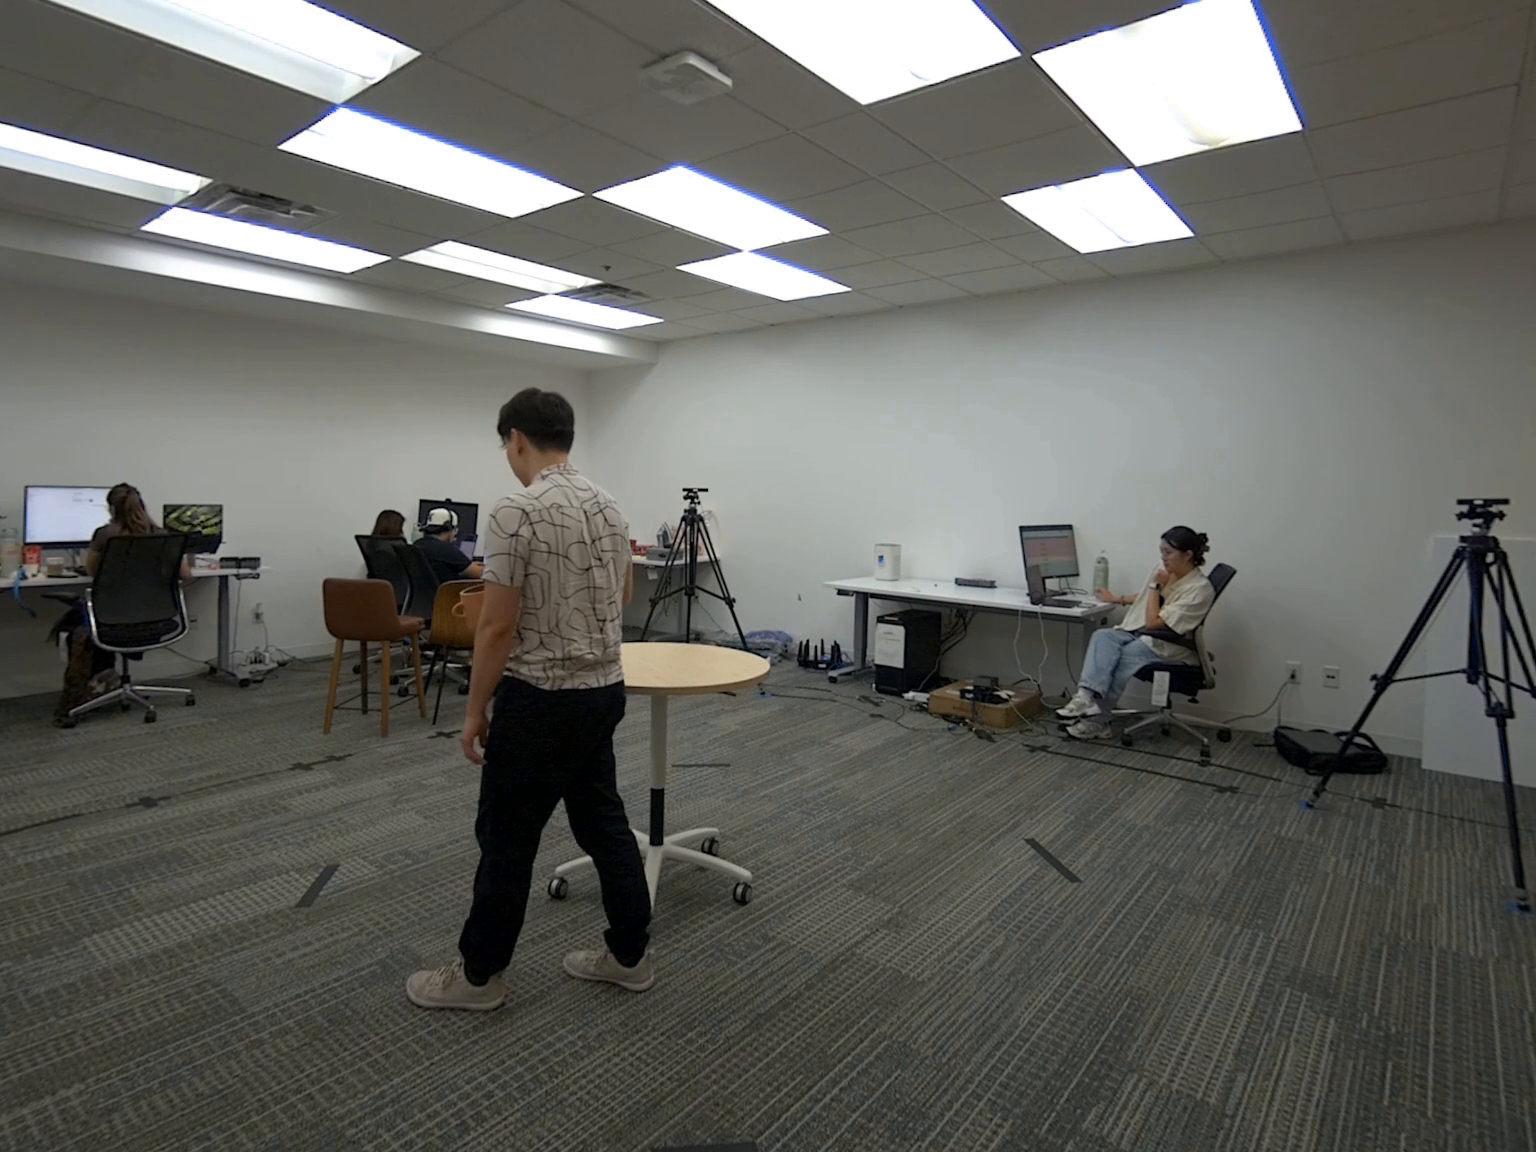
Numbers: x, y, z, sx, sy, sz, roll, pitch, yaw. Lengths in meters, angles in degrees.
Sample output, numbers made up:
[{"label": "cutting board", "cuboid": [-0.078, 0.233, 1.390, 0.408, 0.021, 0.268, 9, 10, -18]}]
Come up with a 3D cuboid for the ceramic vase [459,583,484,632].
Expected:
[{"label": "ceramic vase", "cuboid": [-0.842, 0.138, 2.527, 0.160, 0.218, 0.135, -7, 9, 9]}]
